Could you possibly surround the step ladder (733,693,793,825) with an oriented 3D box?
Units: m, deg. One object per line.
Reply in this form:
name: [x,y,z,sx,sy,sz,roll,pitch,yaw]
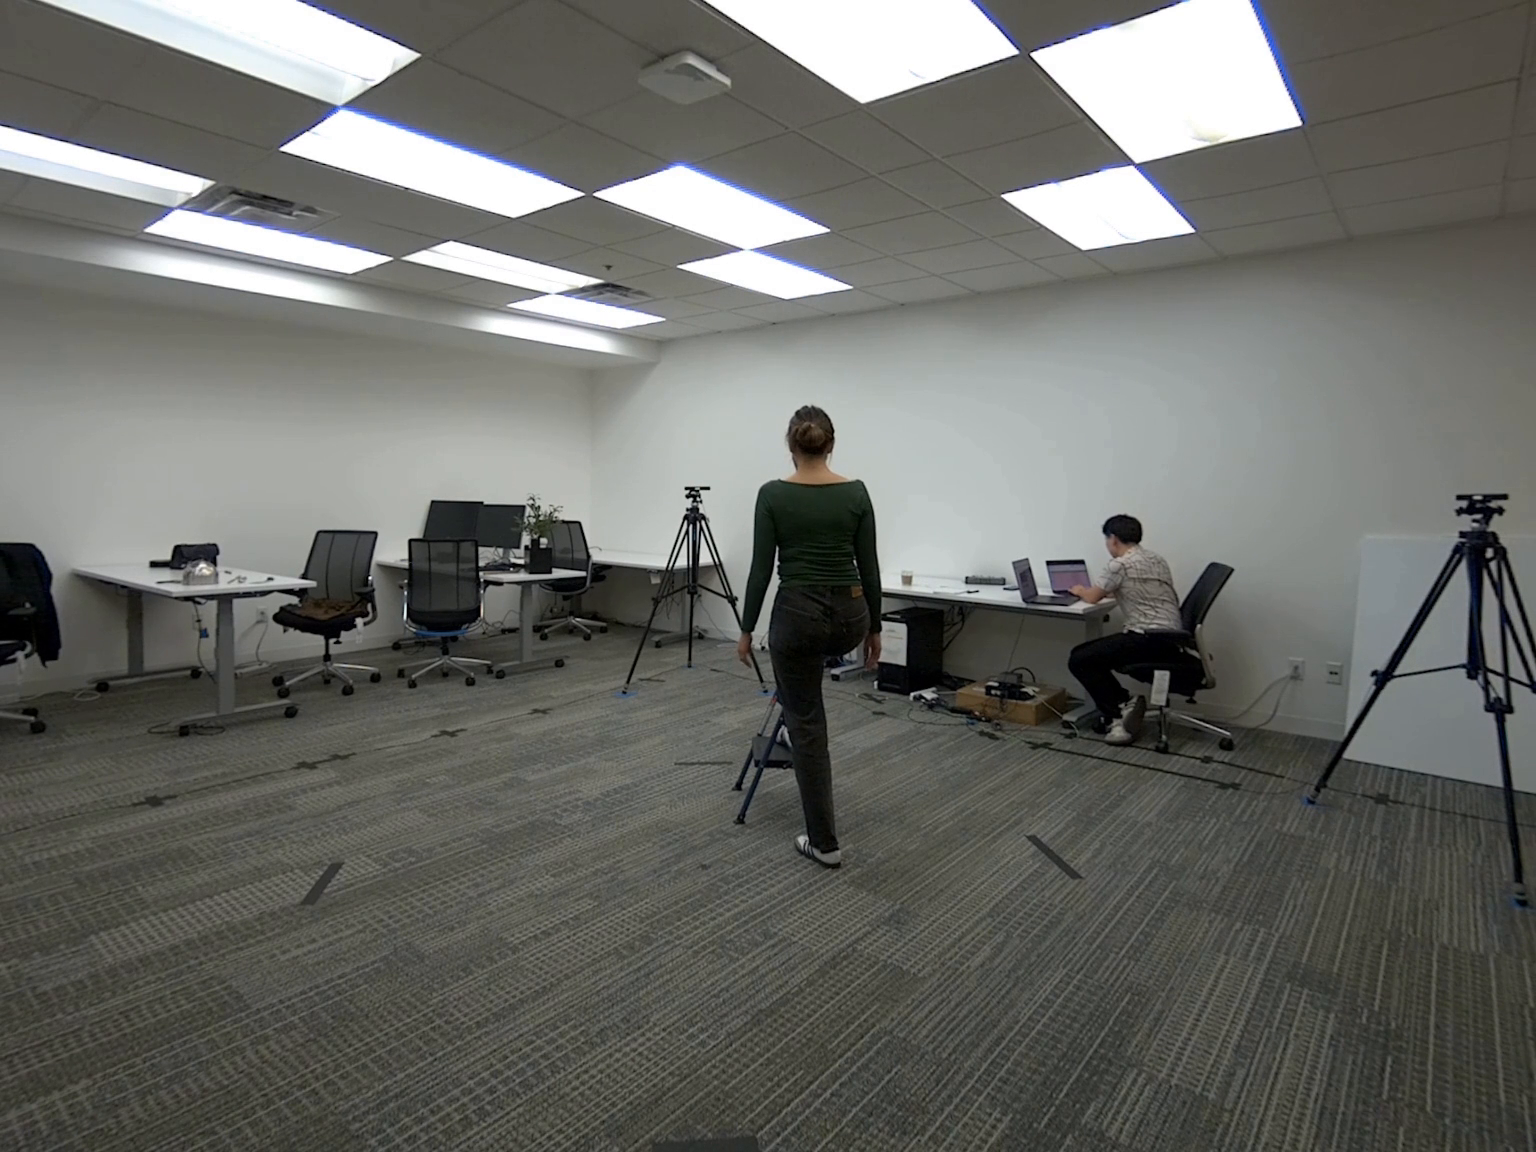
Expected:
step ladder: [0.016,0.711,3.723,0.349,0.604,0.433,0,3,-3]
